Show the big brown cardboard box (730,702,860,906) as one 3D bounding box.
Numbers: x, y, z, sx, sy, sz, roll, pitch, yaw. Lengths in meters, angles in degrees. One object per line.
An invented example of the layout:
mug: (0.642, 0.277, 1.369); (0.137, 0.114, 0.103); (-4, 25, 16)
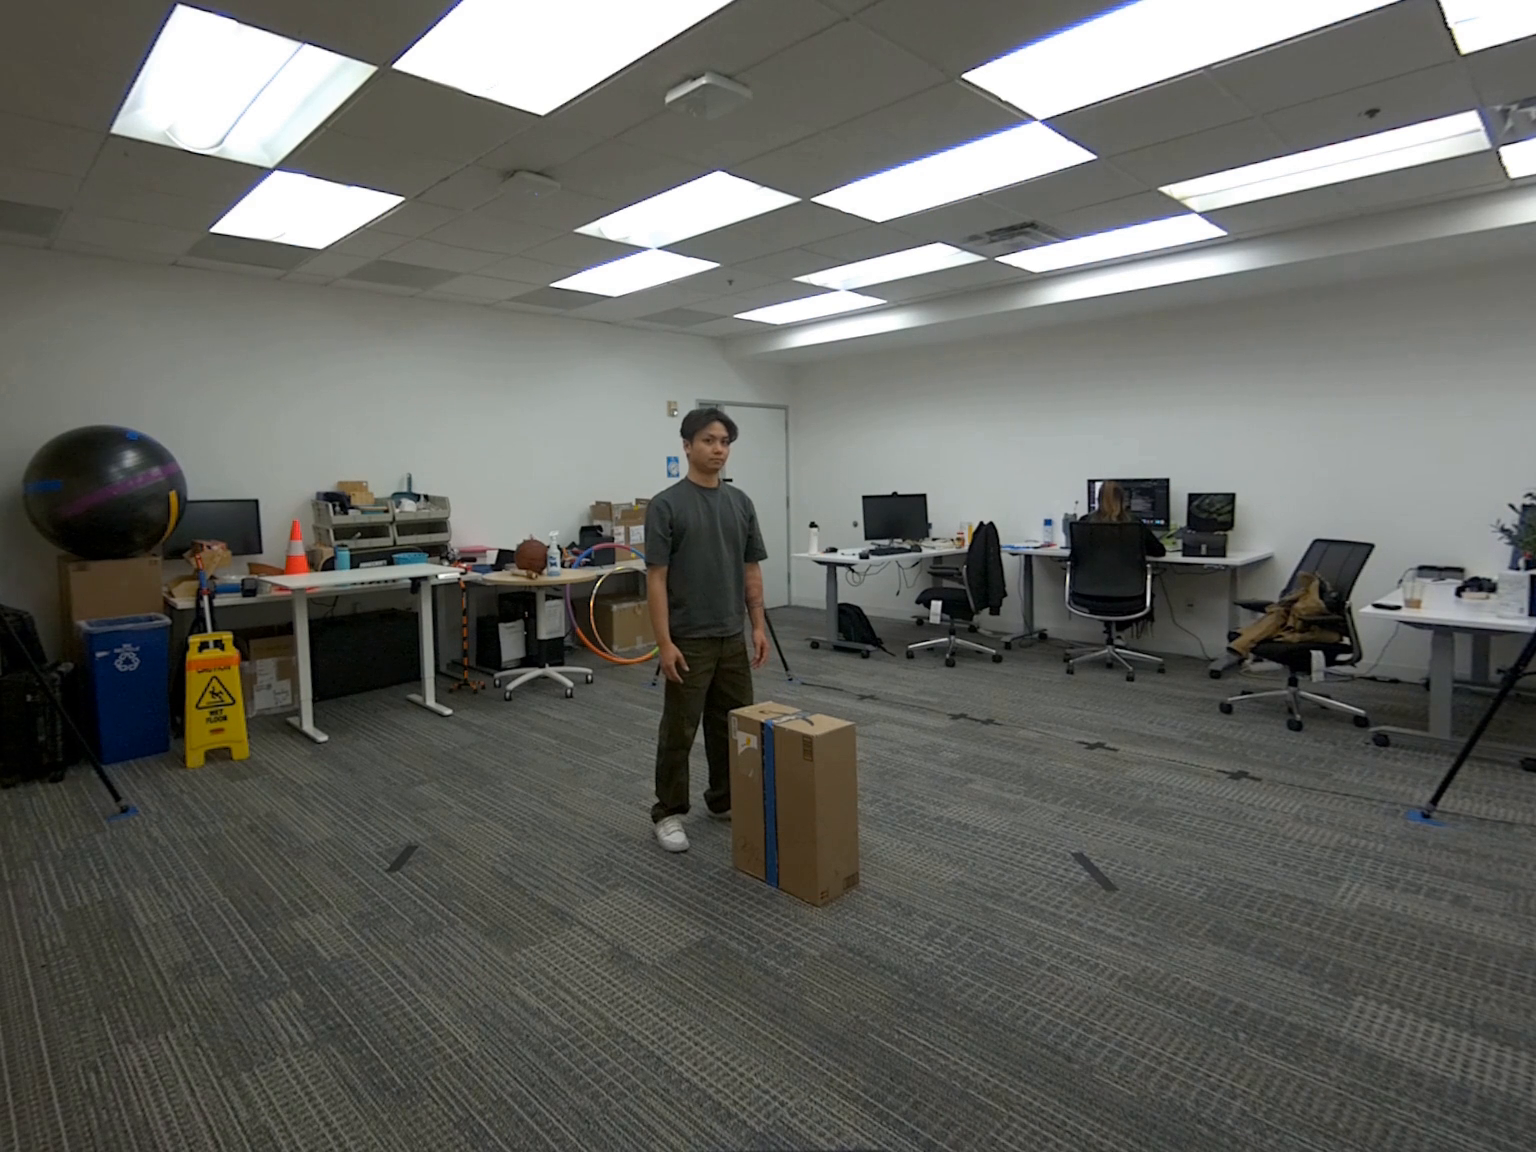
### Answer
big brown cardboard box: (0.088, 0.769, 2.983); (0.227, 0.587, 0.430); (-5, 5, -43)
